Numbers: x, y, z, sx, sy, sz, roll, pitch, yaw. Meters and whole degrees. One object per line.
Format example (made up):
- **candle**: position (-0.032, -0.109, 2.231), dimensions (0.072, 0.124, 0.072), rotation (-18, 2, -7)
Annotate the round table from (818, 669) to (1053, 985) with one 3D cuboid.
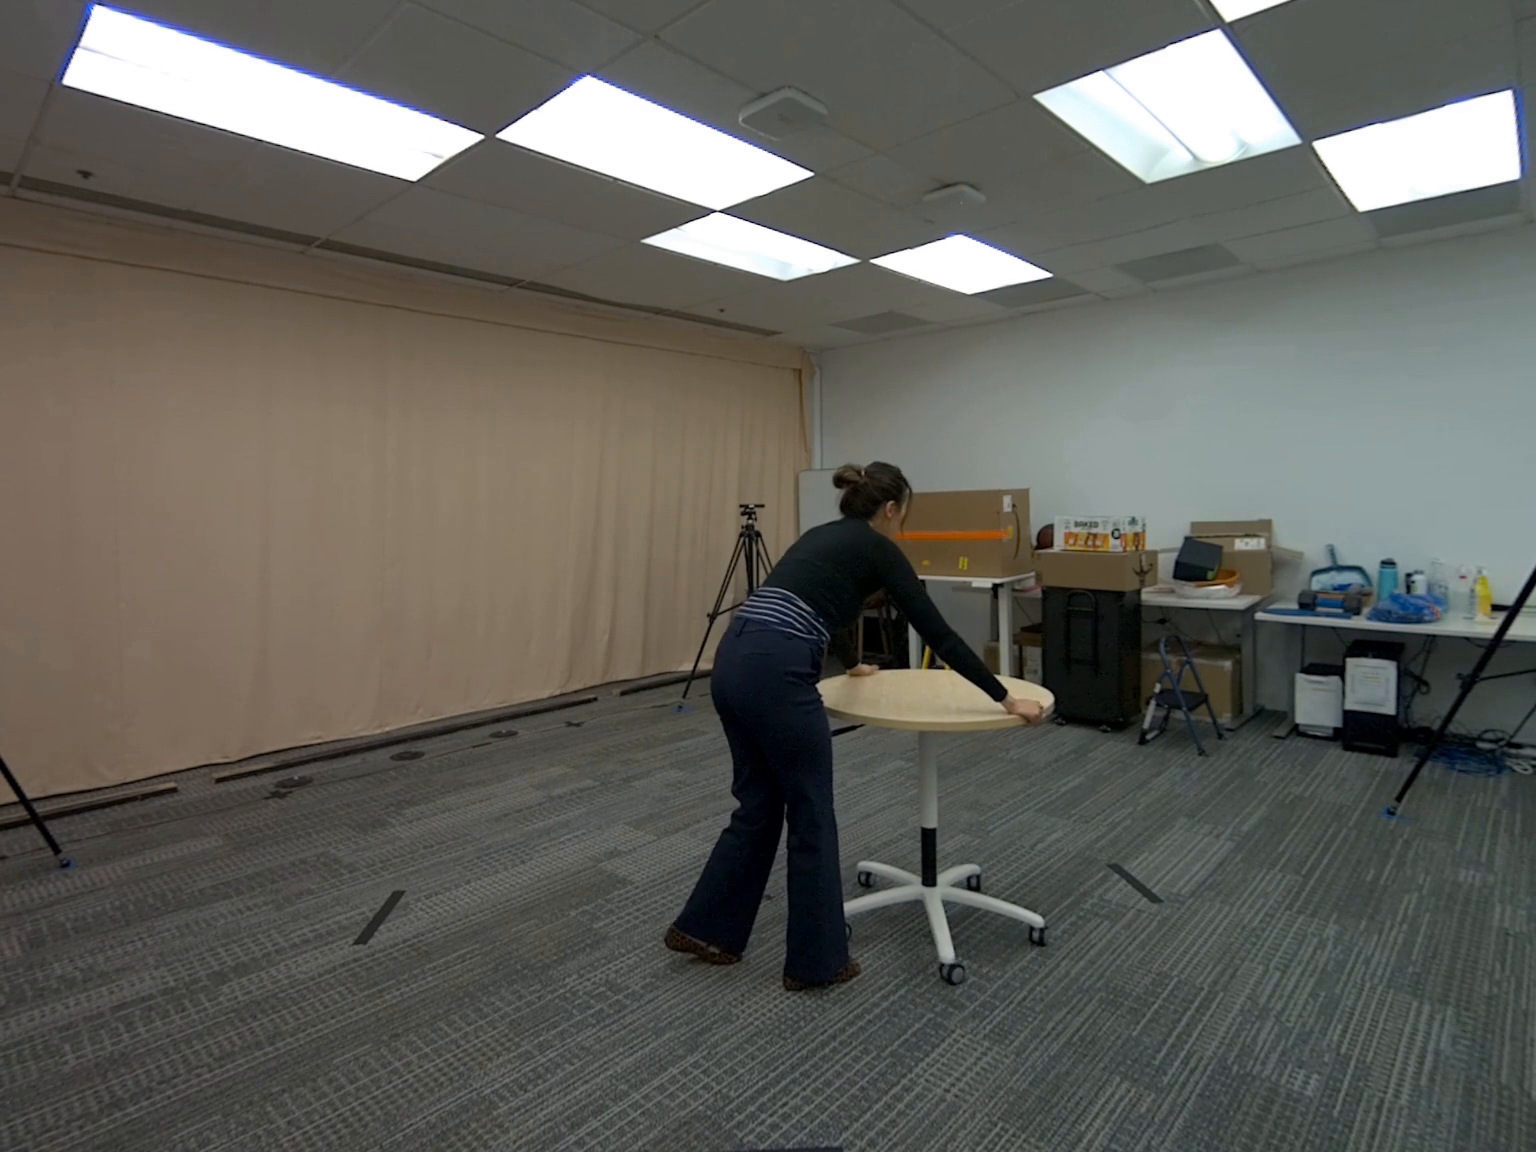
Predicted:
- **round table**: position (0.533, 0.765, 2.752), dimensions (0.763, 0.792, 0.767), rotation (-1, 4, -2)
